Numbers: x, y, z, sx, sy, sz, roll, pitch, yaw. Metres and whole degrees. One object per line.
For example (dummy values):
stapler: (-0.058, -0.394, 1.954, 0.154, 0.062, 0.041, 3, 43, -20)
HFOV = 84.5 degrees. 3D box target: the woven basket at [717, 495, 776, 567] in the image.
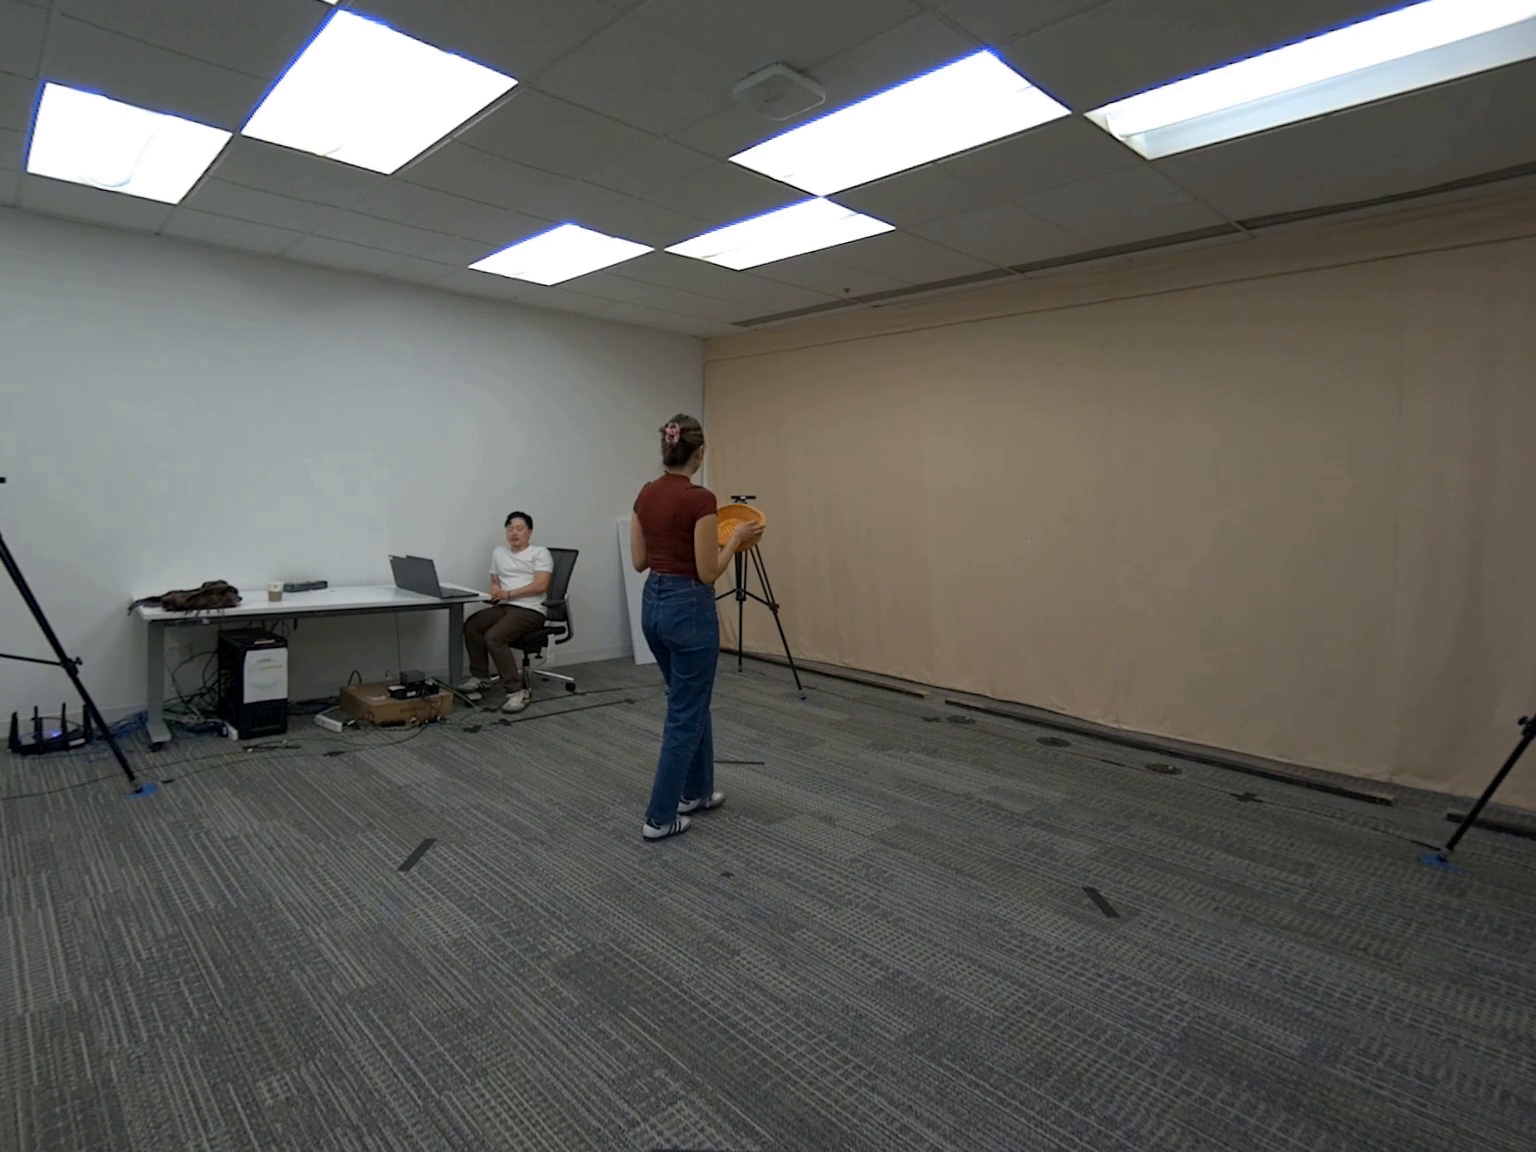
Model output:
woven basket: (-0.172, -0.202, 3.661, 0.251, 0.071, 0.361, -36, 35, -14)
